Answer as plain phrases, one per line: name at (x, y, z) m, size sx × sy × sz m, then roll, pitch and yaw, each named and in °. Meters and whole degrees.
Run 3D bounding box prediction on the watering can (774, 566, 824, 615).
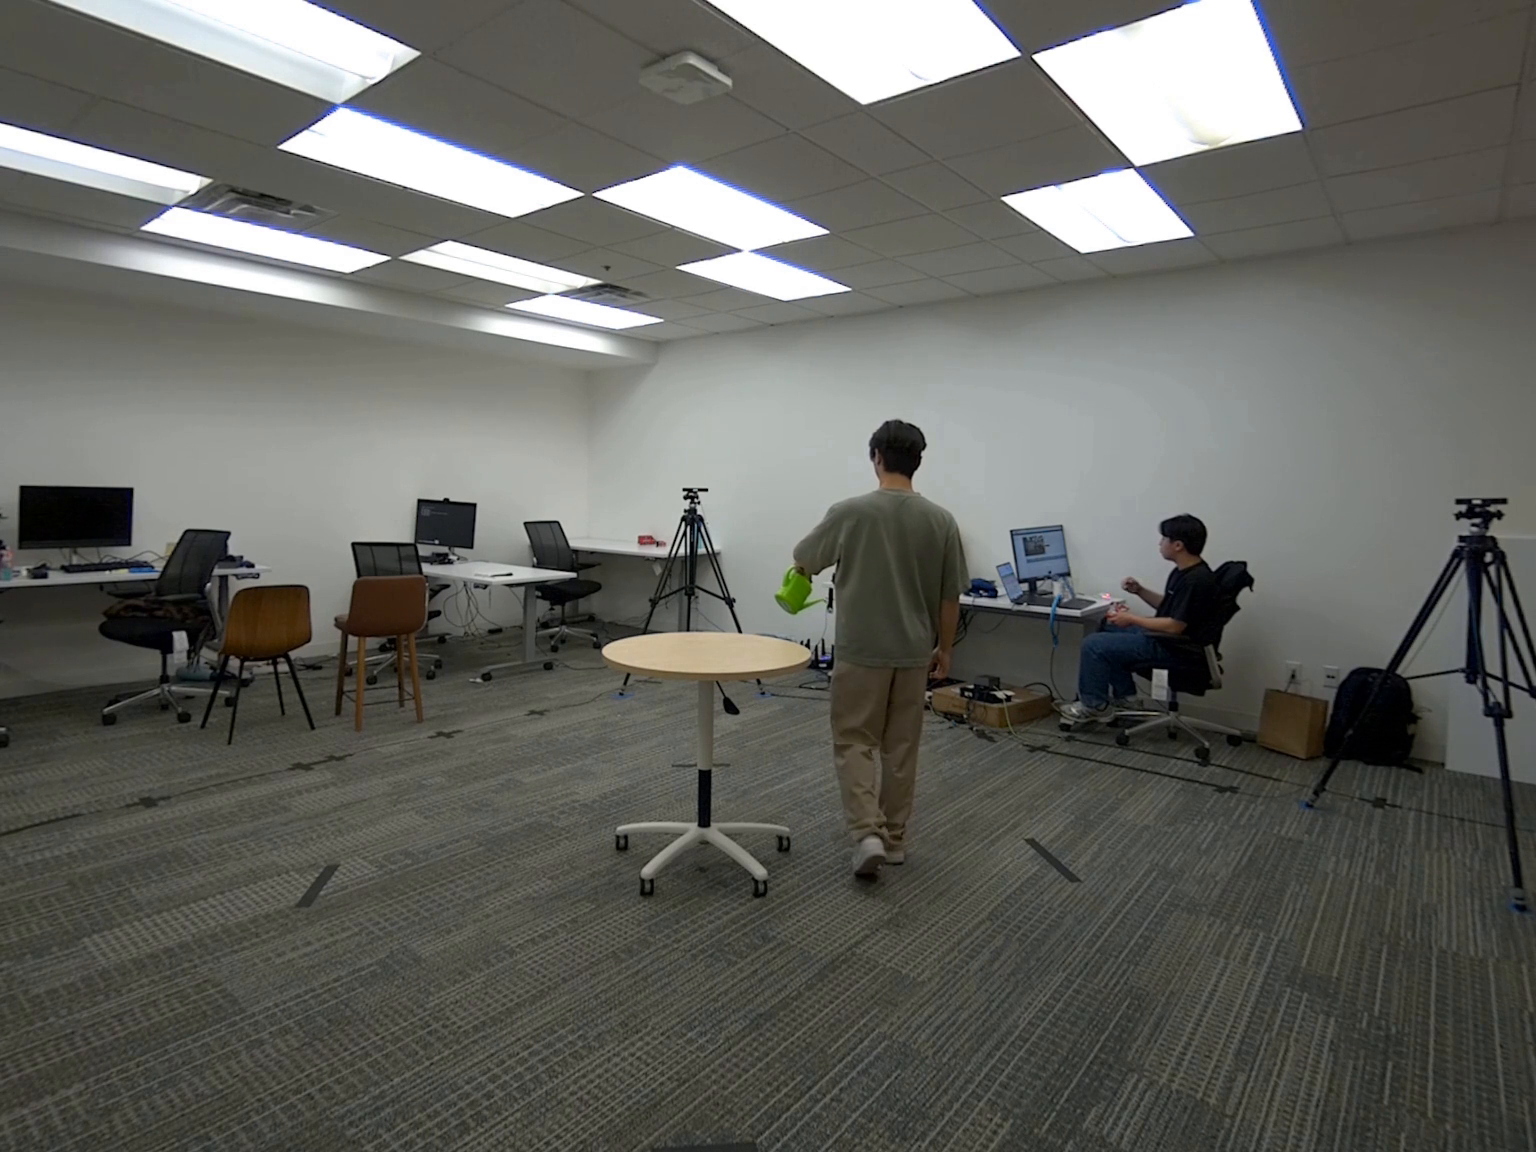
watering can at (0.136, 0.087, 3.628) m, size 0.271 × 0.177 × 0.100 m, roll 46°, pitch -26°, yaw -19°
